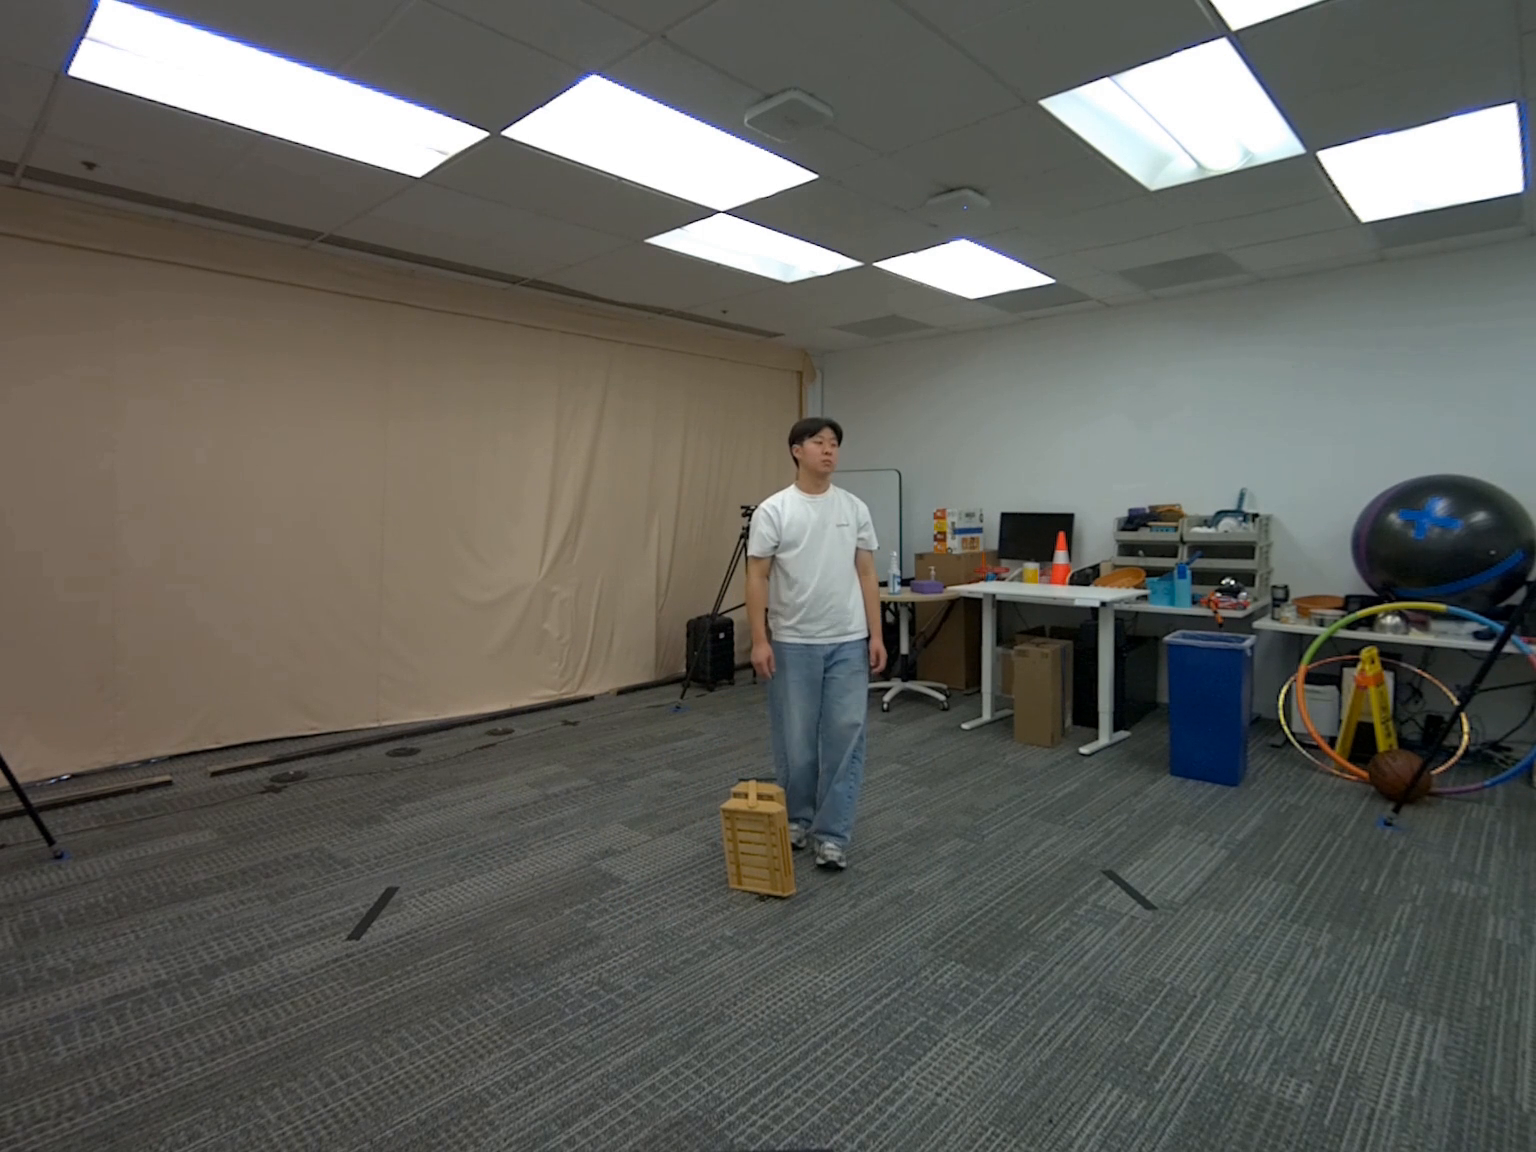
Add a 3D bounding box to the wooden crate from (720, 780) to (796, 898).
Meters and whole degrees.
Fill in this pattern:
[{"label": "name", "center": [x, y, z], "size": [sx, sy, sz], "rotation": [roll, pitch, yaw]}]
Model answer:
[{"label": "wooden crate", "center": [-0.007, 0.962, 3.125], "size": [0.310, 0.323, 0.266], "rotation": [-4, 4, 31]}]
